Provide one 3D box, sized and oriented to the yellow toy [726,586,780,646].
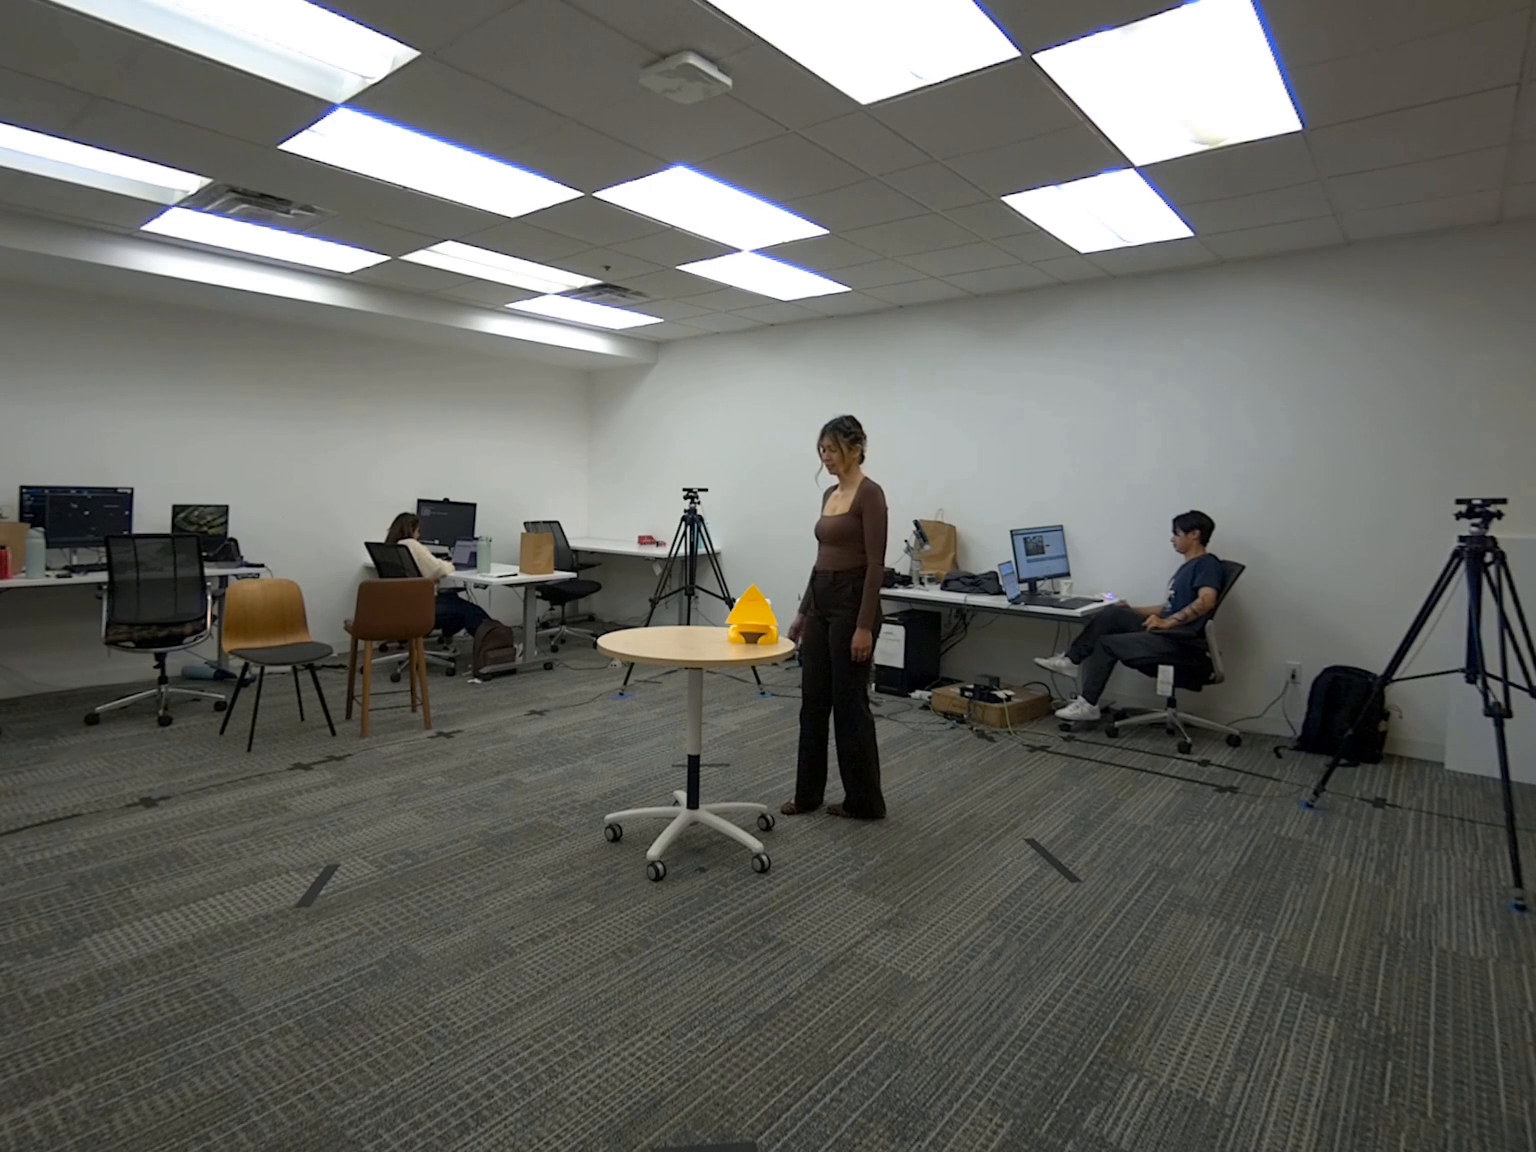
[{"bbox_3d":[-0.065,0.136,3.347,0.206,0.230,0.192,2,5,6],"label":"yellow toy"}]
